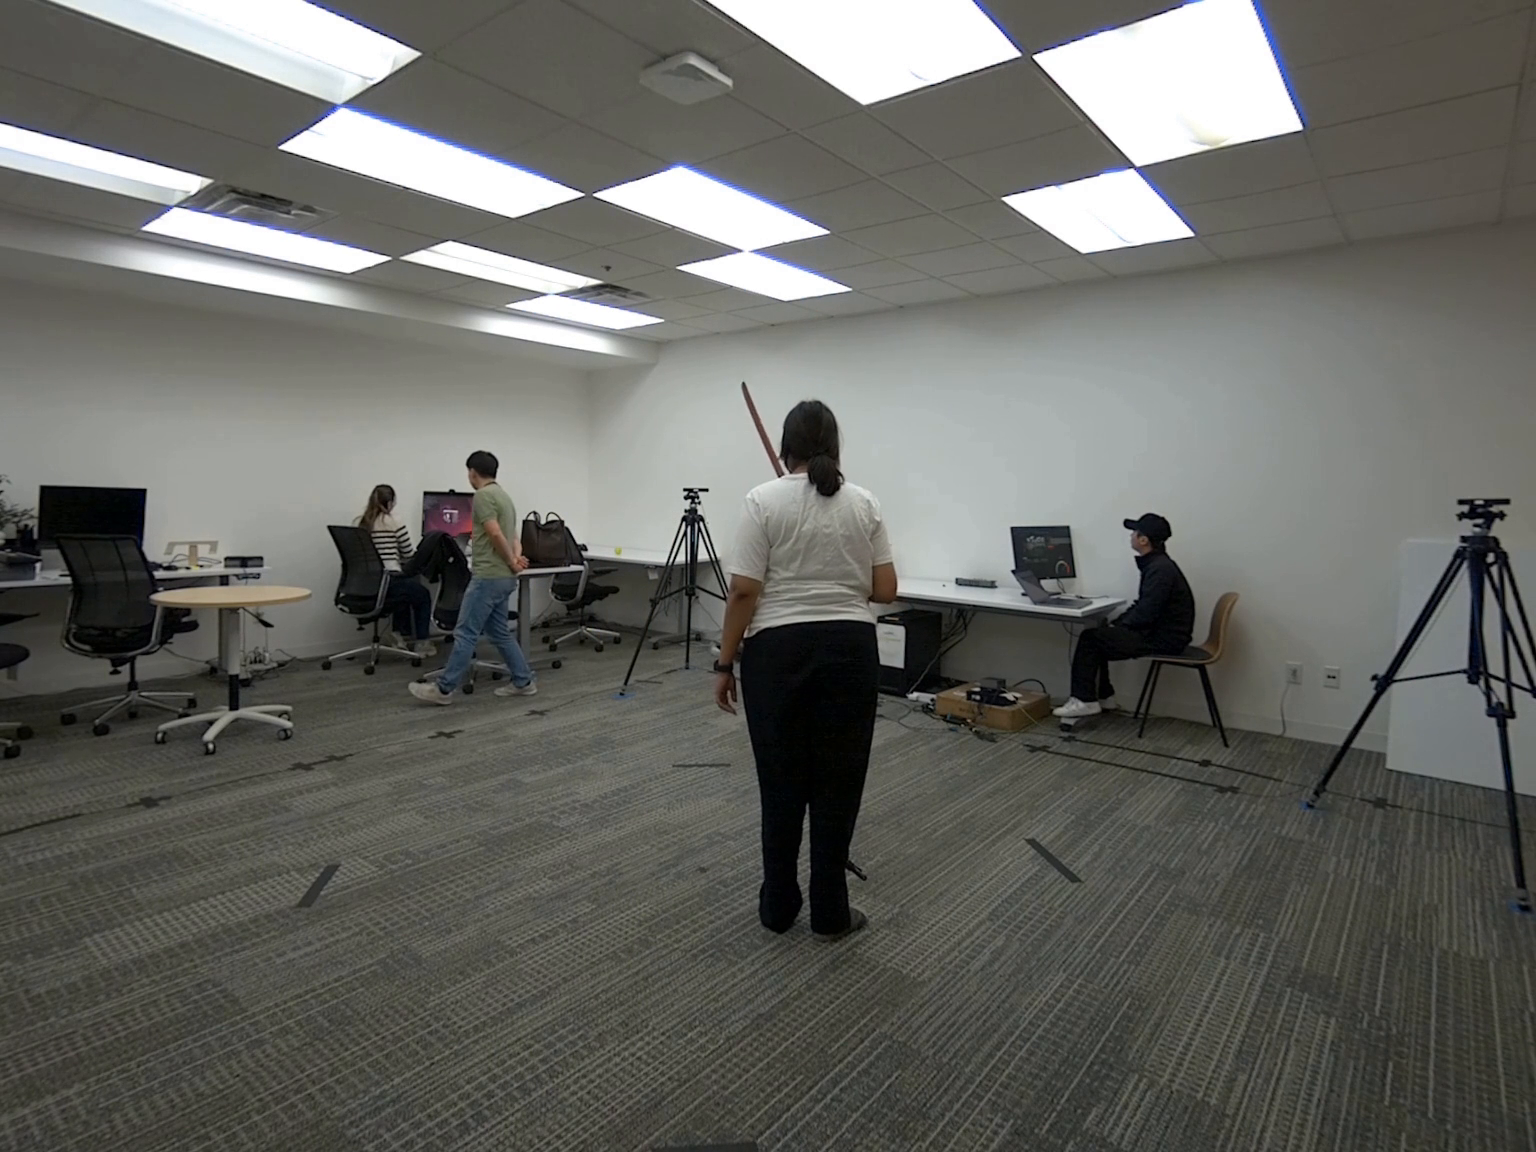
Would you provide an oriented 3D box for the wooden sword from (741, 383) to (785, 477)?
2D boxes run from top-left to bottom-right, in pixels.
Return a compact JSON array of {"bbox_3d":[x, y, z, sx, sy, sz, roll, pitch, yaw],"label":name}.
[{"bbox_3d":[0.044,-0.389,3.246,0.051,1.061,0.023,-13,-33,-13],"label":"wooden sword"}]
